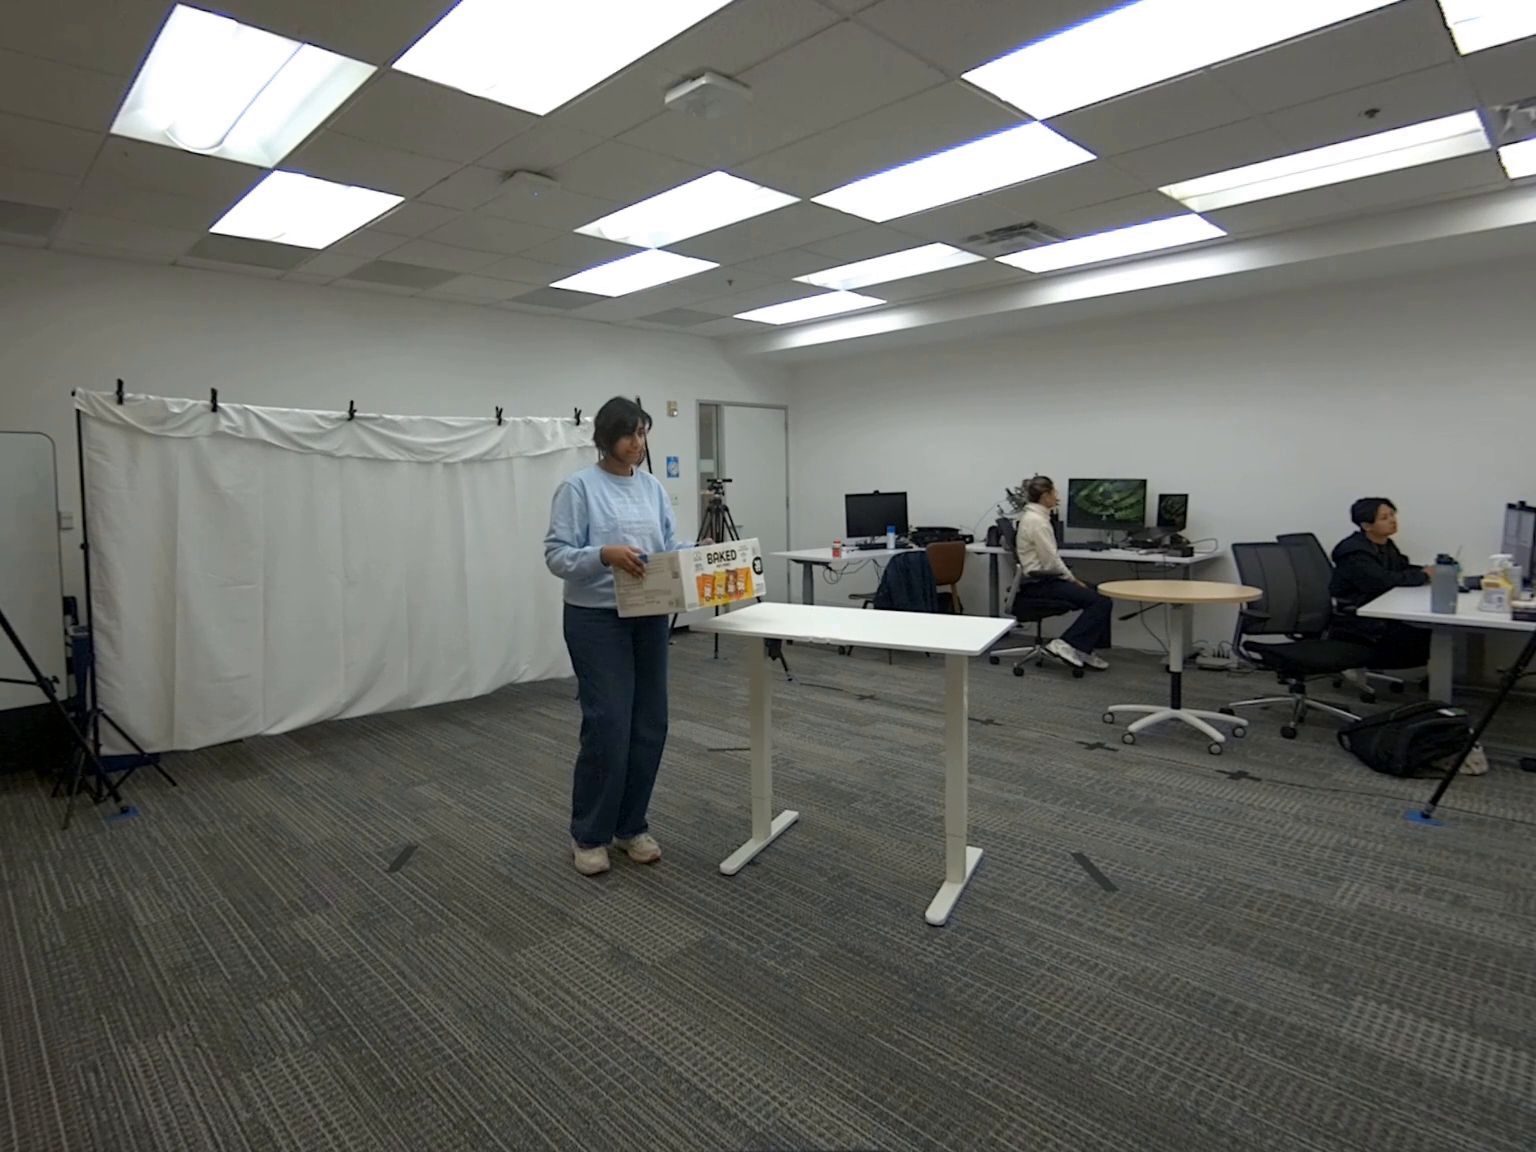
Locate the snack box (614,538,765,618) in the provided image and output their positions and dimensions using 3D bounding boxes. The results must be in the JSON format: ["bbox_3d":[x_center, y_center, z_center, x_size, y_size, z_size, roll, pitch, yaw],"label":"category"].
[{"bbox_3d":[-0.283,0.008,2.977,0.349,0.206,0.395,-8,2,41],"label":"snack box"}]
